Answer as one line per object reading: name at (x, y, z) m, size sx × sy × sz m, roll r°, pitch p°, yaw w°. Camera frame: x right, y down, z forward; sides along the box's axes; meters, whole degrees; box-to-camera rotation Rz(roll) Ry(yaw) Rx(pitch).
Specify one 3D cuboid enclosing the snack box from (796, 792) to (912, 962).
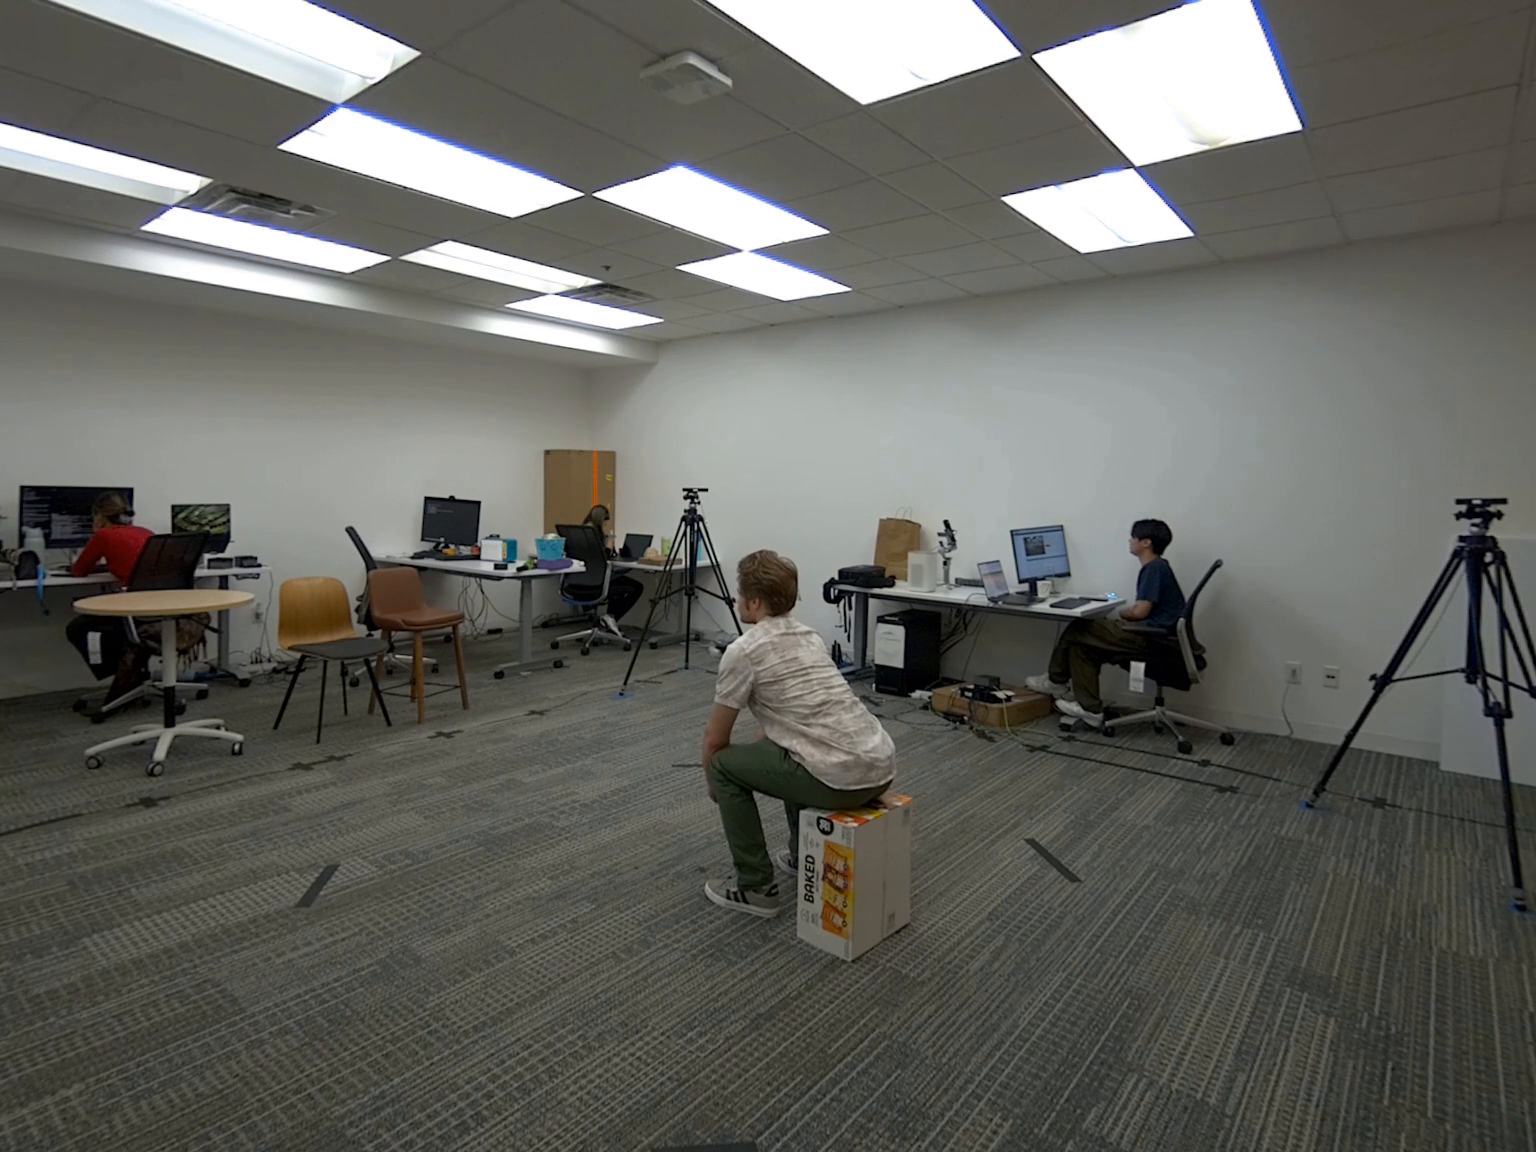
snack box at (0.276, 0.920, 2.691) m, size 0.212 × 0.404 × 0.330 m, roll 2°, pitch 3°, yaw 41°
